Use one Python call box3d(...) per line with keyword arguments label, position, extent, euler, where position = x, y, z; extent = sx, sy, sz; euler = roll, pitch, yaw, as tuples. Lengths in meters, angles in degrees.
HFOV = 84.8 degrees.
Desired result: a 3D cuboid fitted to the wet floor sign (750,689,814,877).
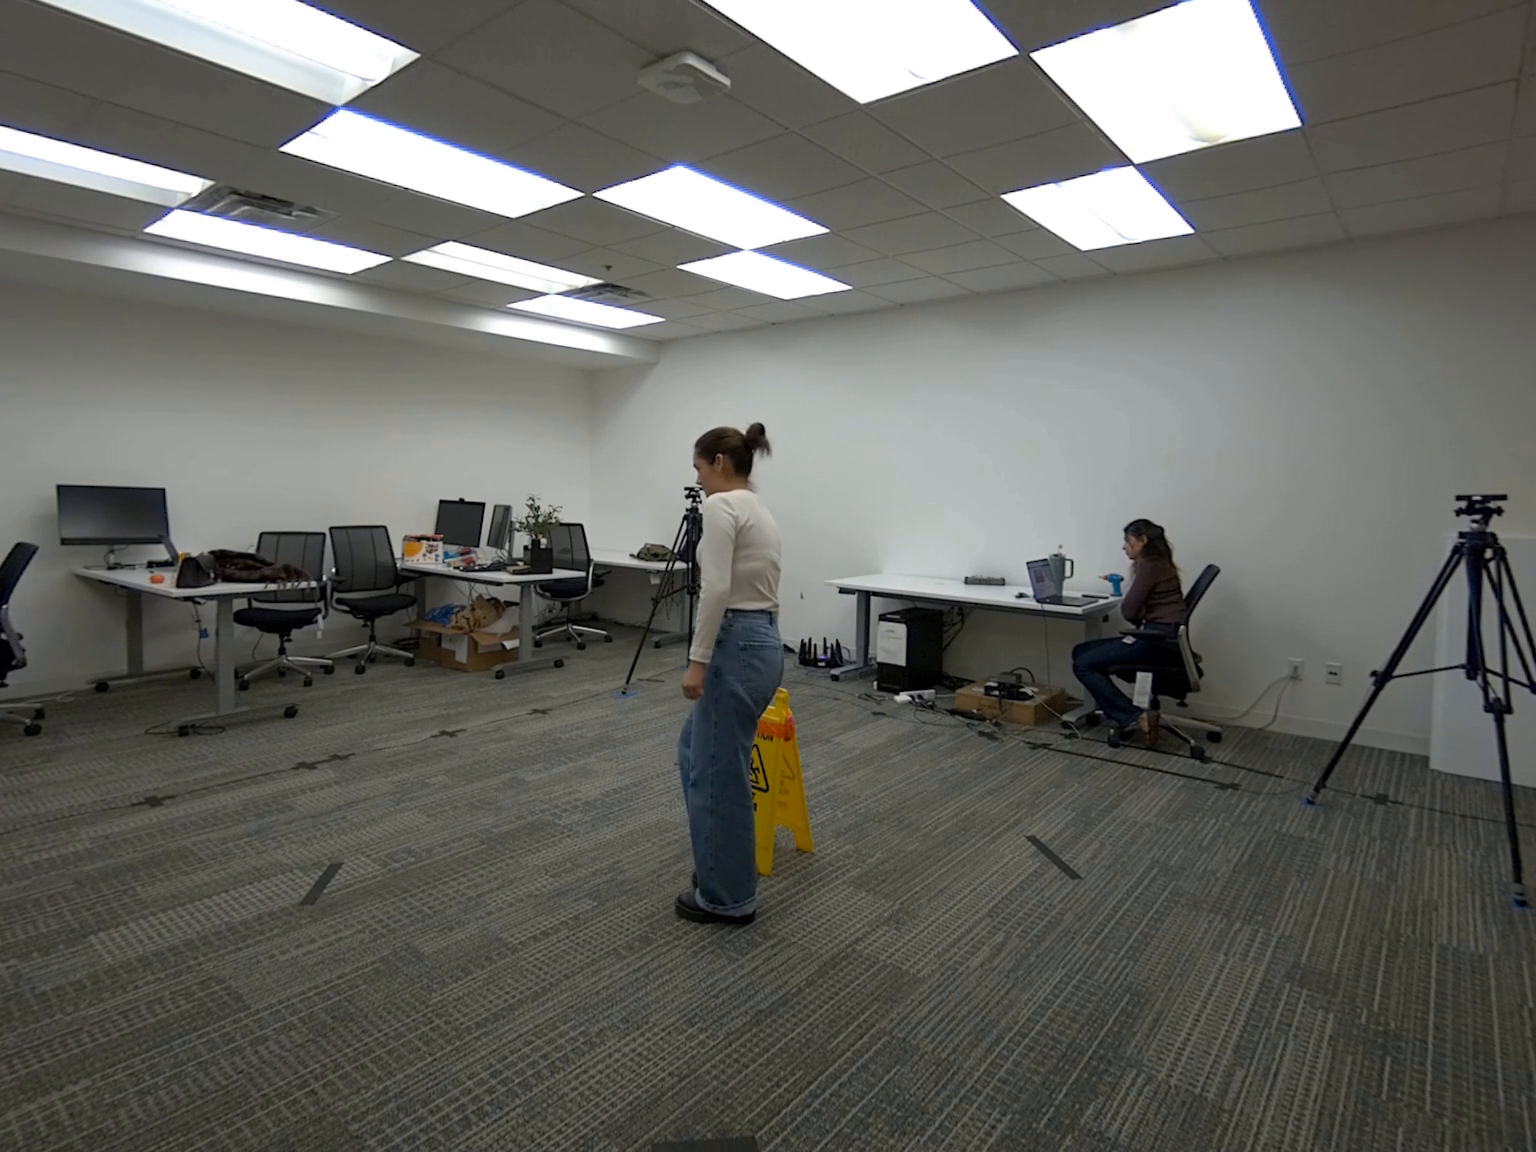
box3d(label="wet floor sign", position=(-0.020, 0.730, 3.235), extent=(0.292, 0.644, 0.281), euler=(4, 4, 39))
